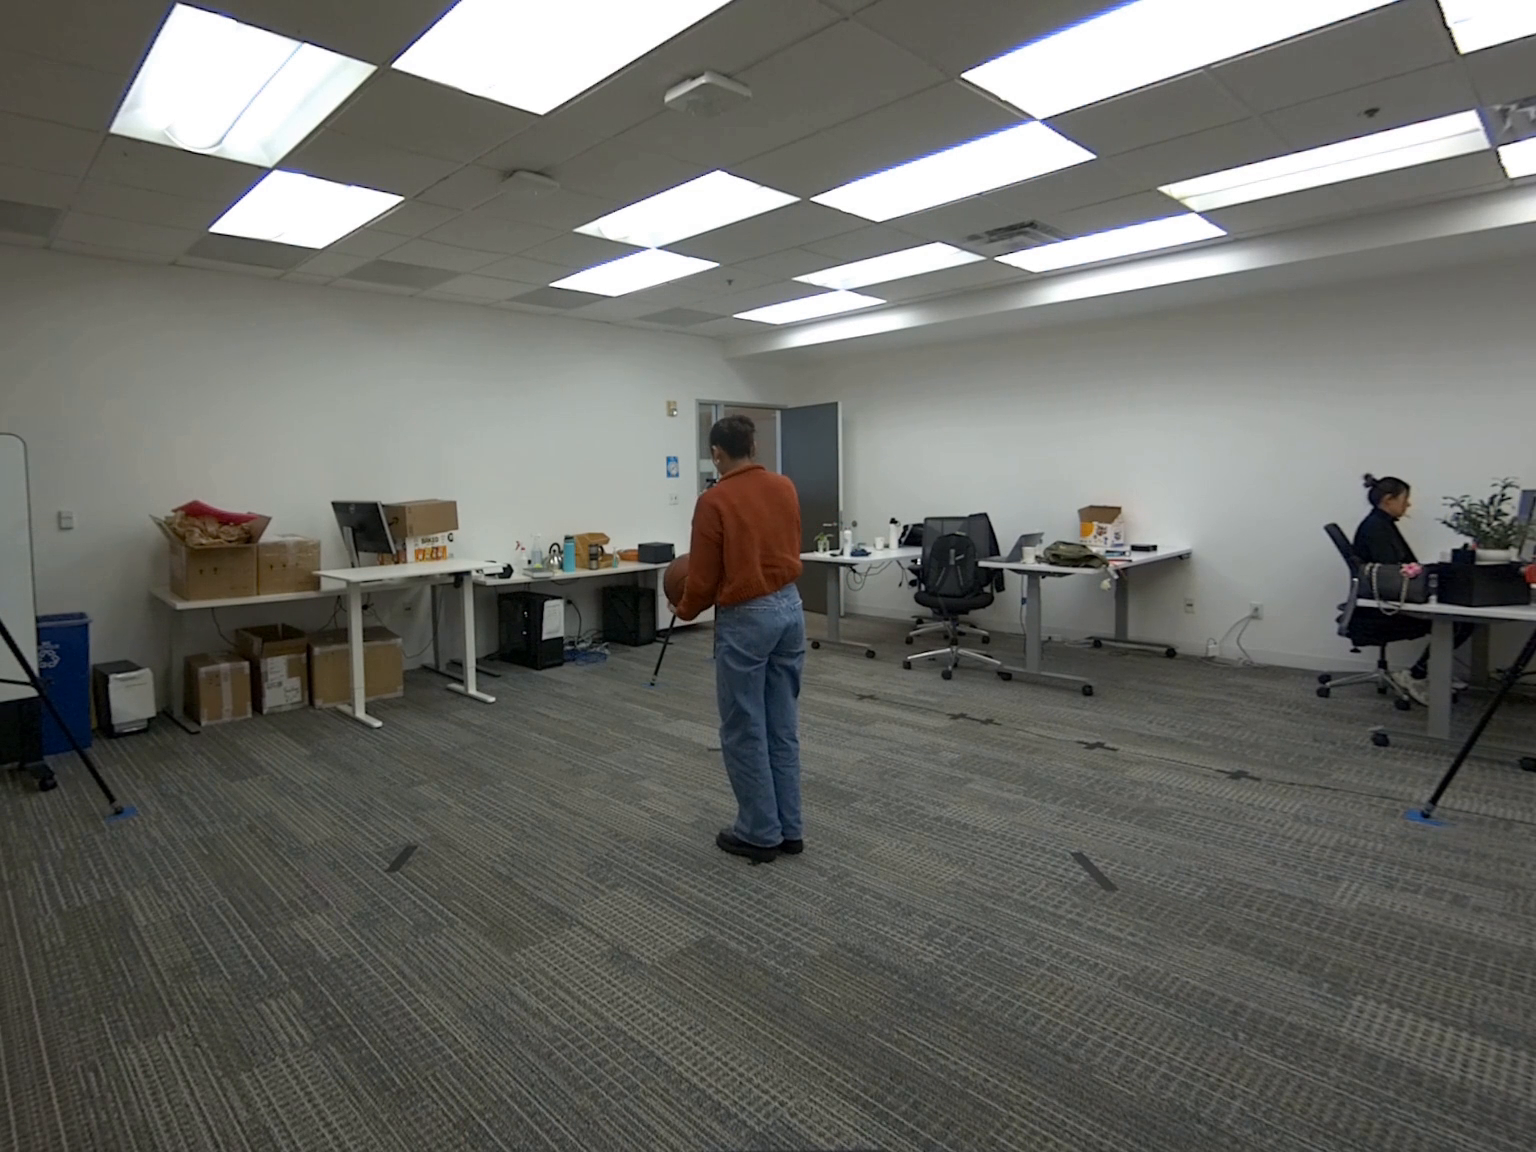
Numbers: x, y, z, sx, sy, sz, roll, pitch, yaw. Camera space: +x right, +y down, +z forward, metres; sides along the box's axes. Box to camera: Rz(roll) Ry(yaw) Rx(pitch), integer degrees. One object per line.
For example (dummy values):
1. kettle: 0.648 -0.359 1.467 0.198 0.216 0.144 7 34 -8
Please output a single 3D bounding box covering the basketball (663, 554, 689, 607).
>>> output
1. basketball: -0.273 0.021 3.337 0.236 0.235 0.237 -1 5 -2
